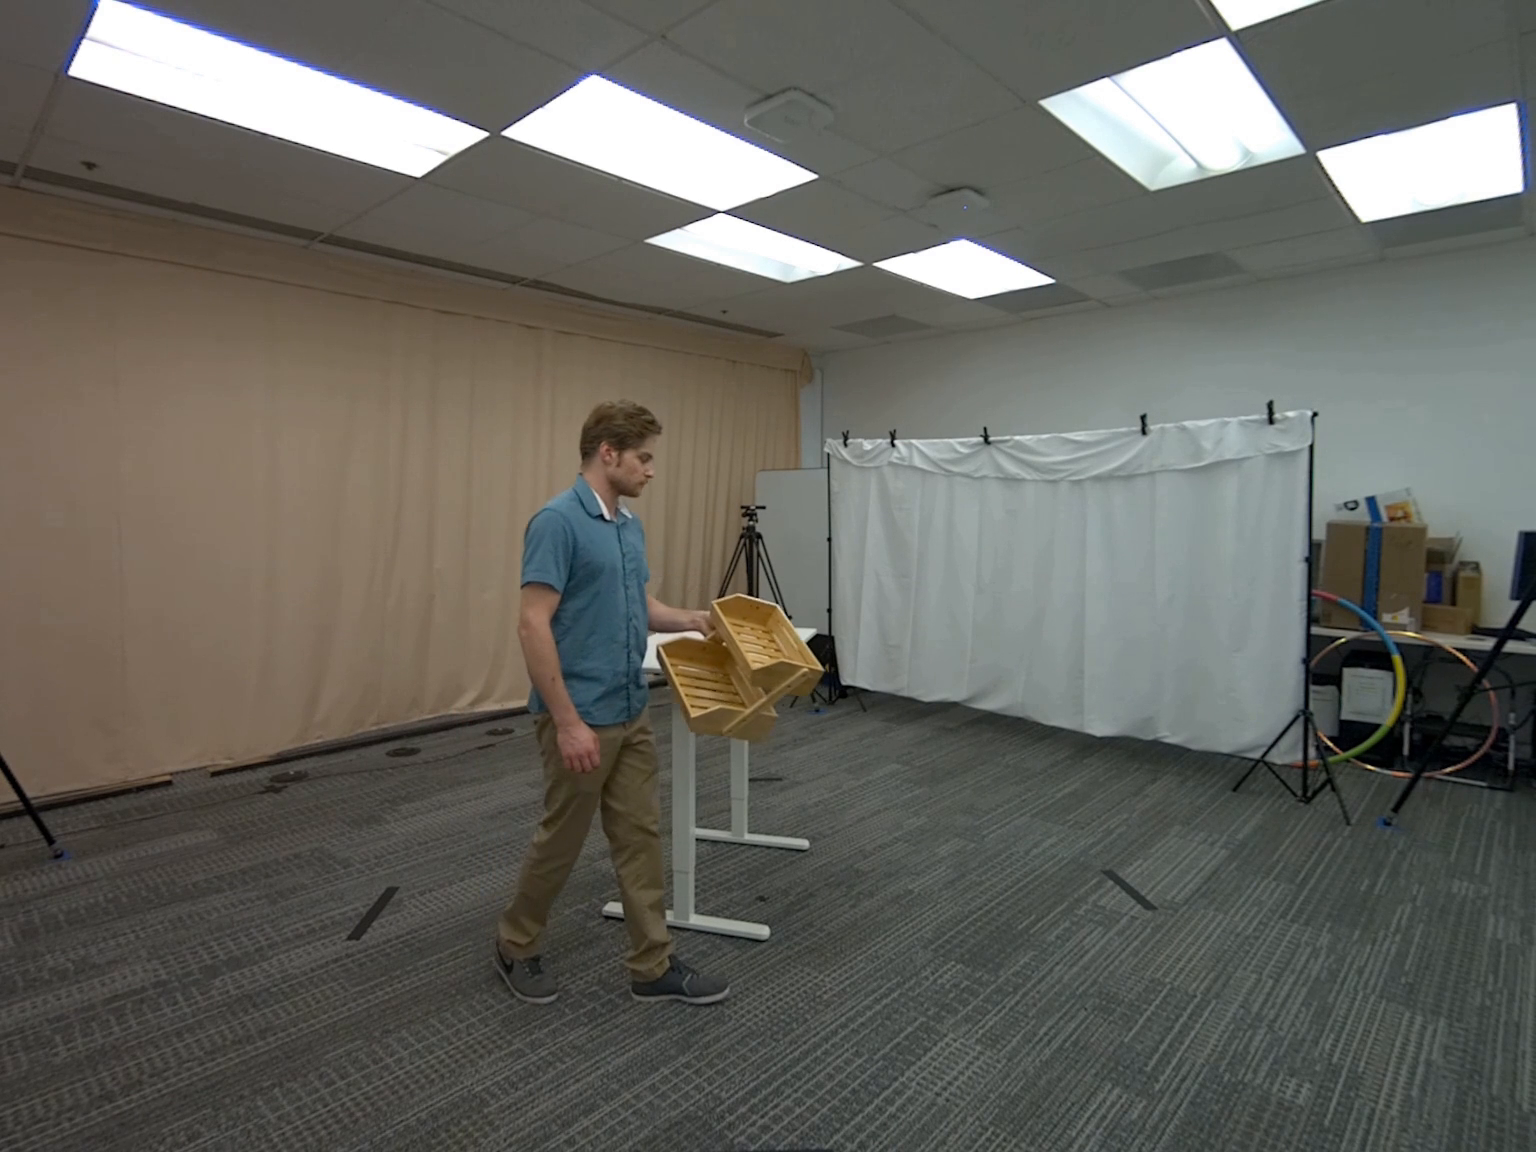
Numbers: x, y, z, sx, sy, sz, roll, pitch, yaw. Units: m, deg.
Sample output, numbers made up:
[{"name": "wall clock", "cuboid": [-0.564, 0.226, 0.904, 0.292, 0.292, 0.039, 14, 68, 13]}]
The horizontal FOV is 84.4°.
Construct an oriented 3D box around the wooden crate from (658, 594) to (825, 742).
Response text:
[{"name": "wooden crate", "cuboid": [-0.088, 0.231, 2.262, 0.292, 0.273, 0.335, 16, 24, -34]}]
